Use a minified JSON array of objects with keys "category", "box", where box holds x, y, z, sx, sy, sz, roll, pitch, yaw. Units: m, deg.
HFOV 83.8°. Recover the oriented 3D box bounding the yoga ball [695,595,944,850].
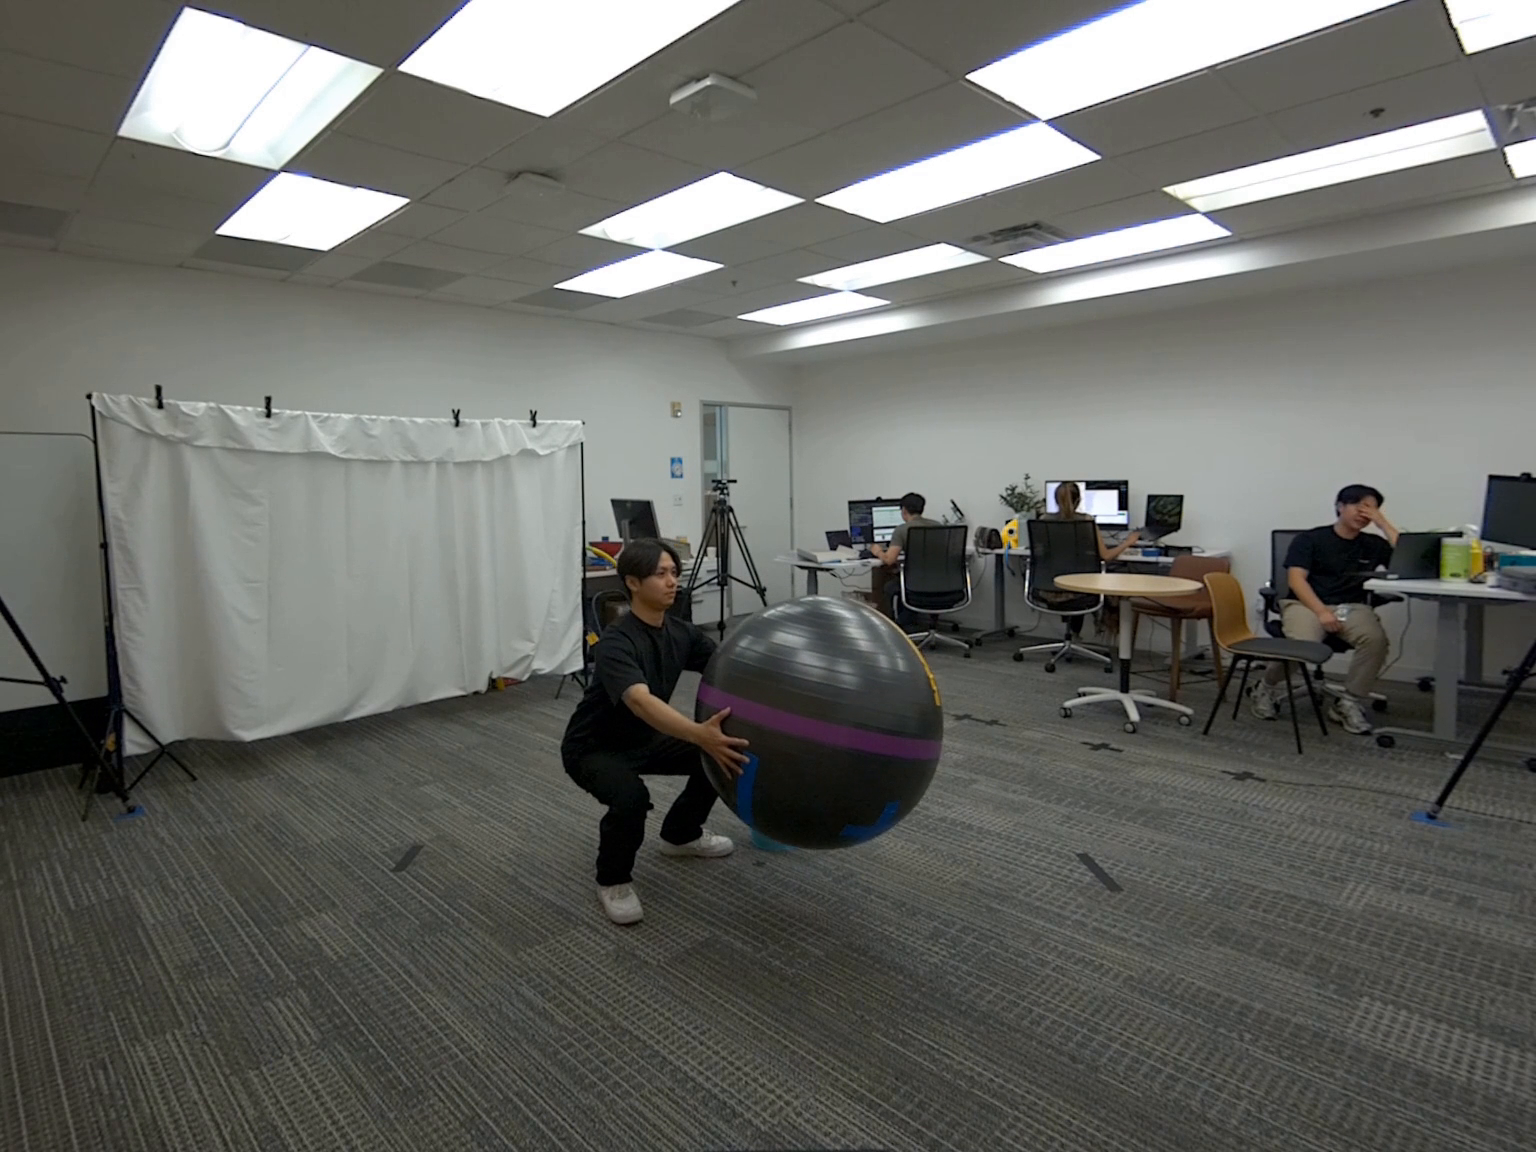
[{"category":"yoga ball","box":[0.160,0.450,2.635,0.757,0.755,0.762,-1,5,-2]}]
